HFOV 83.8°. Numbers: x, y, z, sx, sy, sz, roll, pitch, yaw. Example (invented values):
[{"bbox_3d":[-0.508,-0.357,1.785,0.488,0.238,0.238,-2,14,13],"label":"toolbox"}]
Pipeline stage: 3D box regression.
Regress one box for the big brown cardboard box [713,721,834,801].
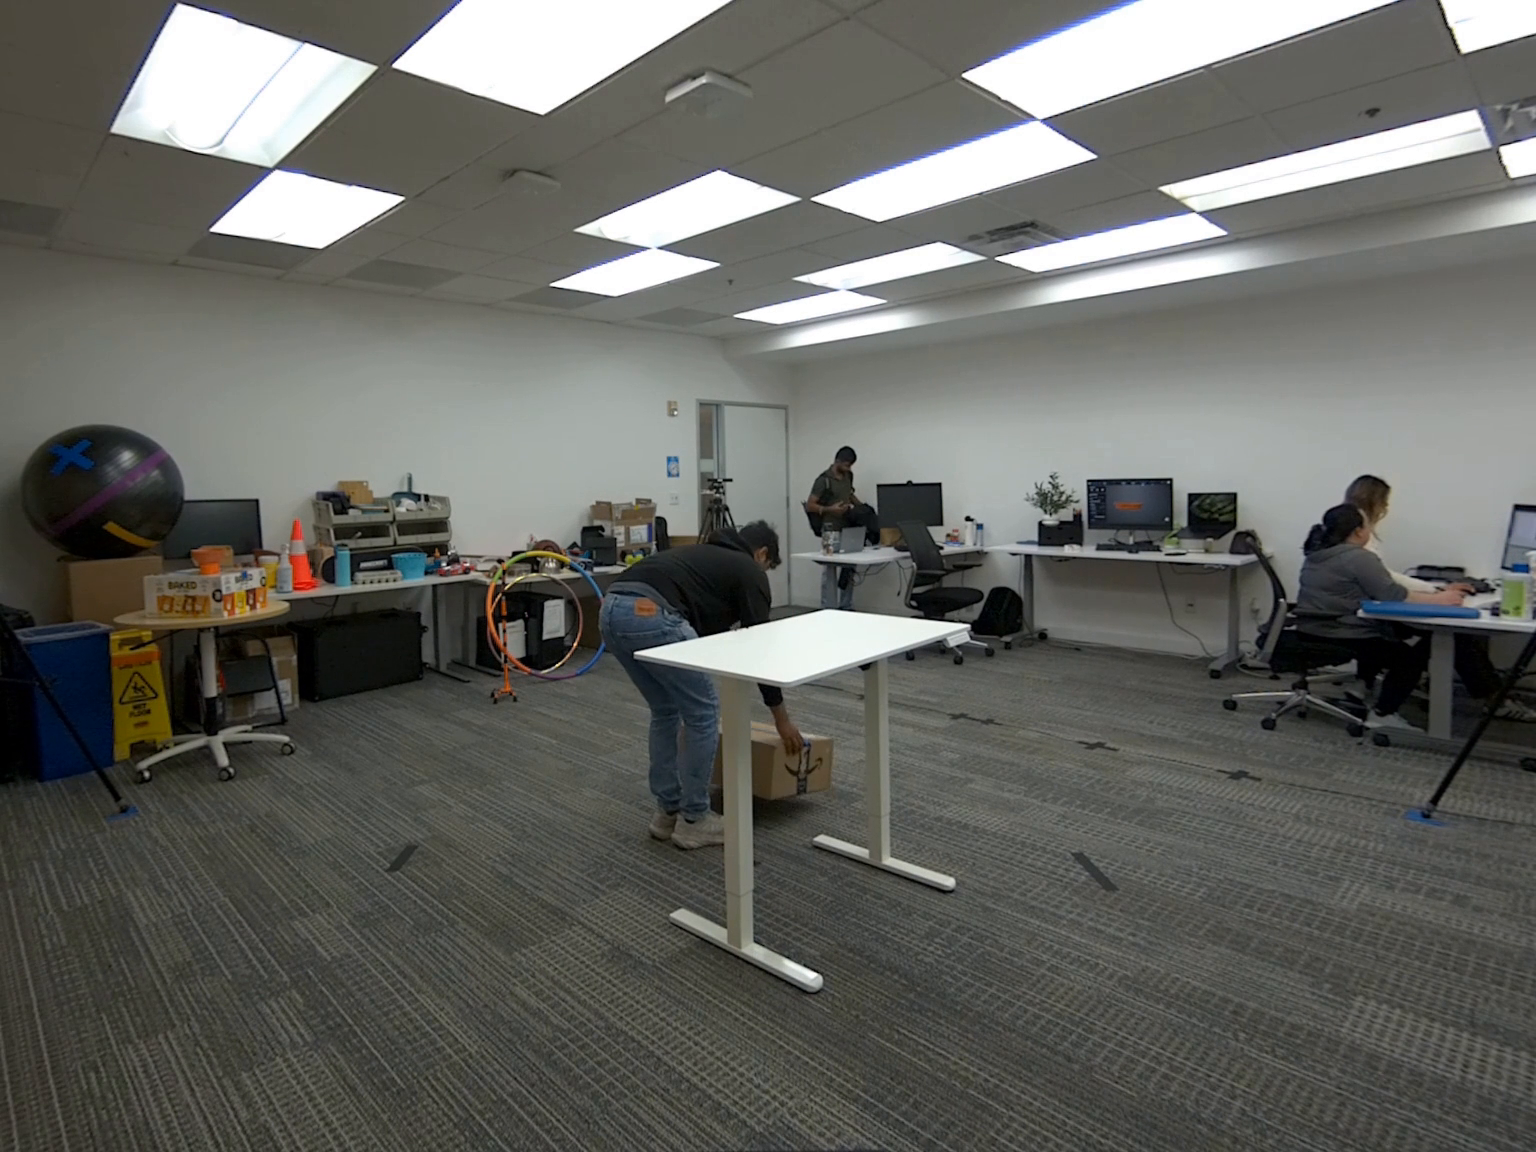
[{"bbox_3d":[-0.068,0.754,3.685,0.606,0.234,0.404,2,-2,39],"label":"big brown cardboard box"}]
